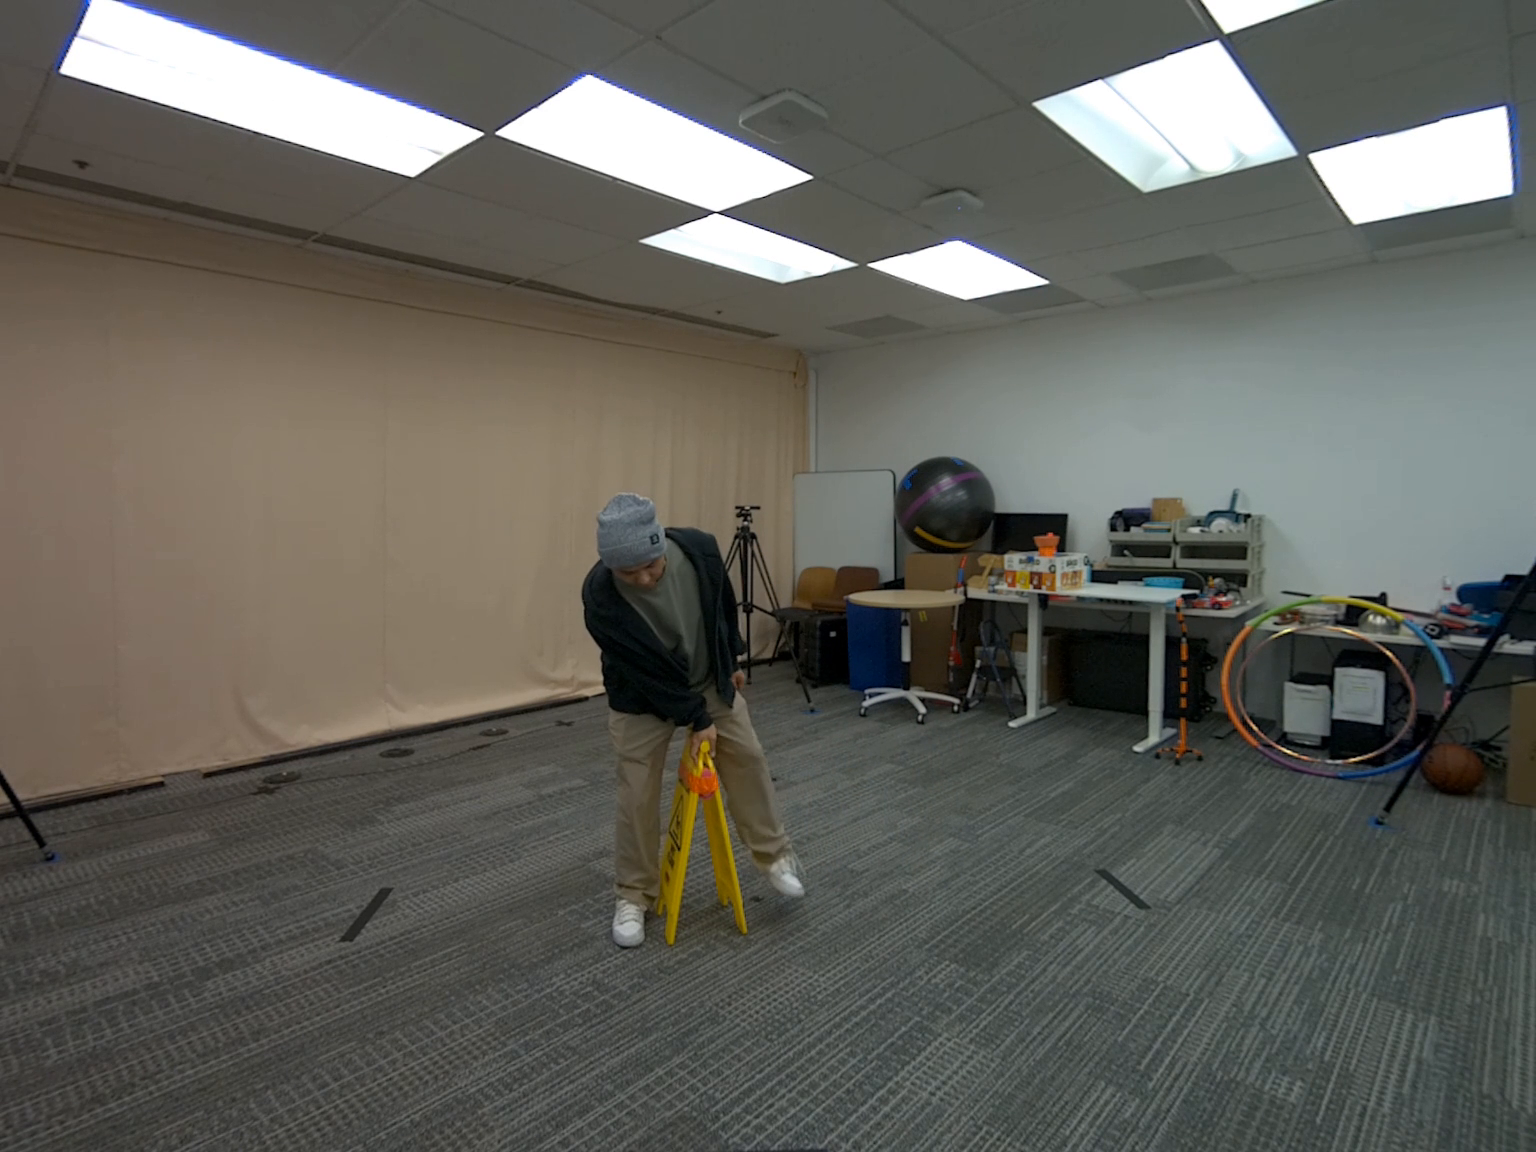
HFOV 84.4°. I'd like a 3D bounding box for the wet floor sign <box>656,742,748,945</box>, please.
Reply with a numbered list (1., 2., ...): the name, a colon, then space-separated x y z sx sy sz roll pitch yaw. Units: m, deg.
1. wet floor sign: -0.235 0.838 2.803 0.285 0.644 0.288 -1 4 -18
